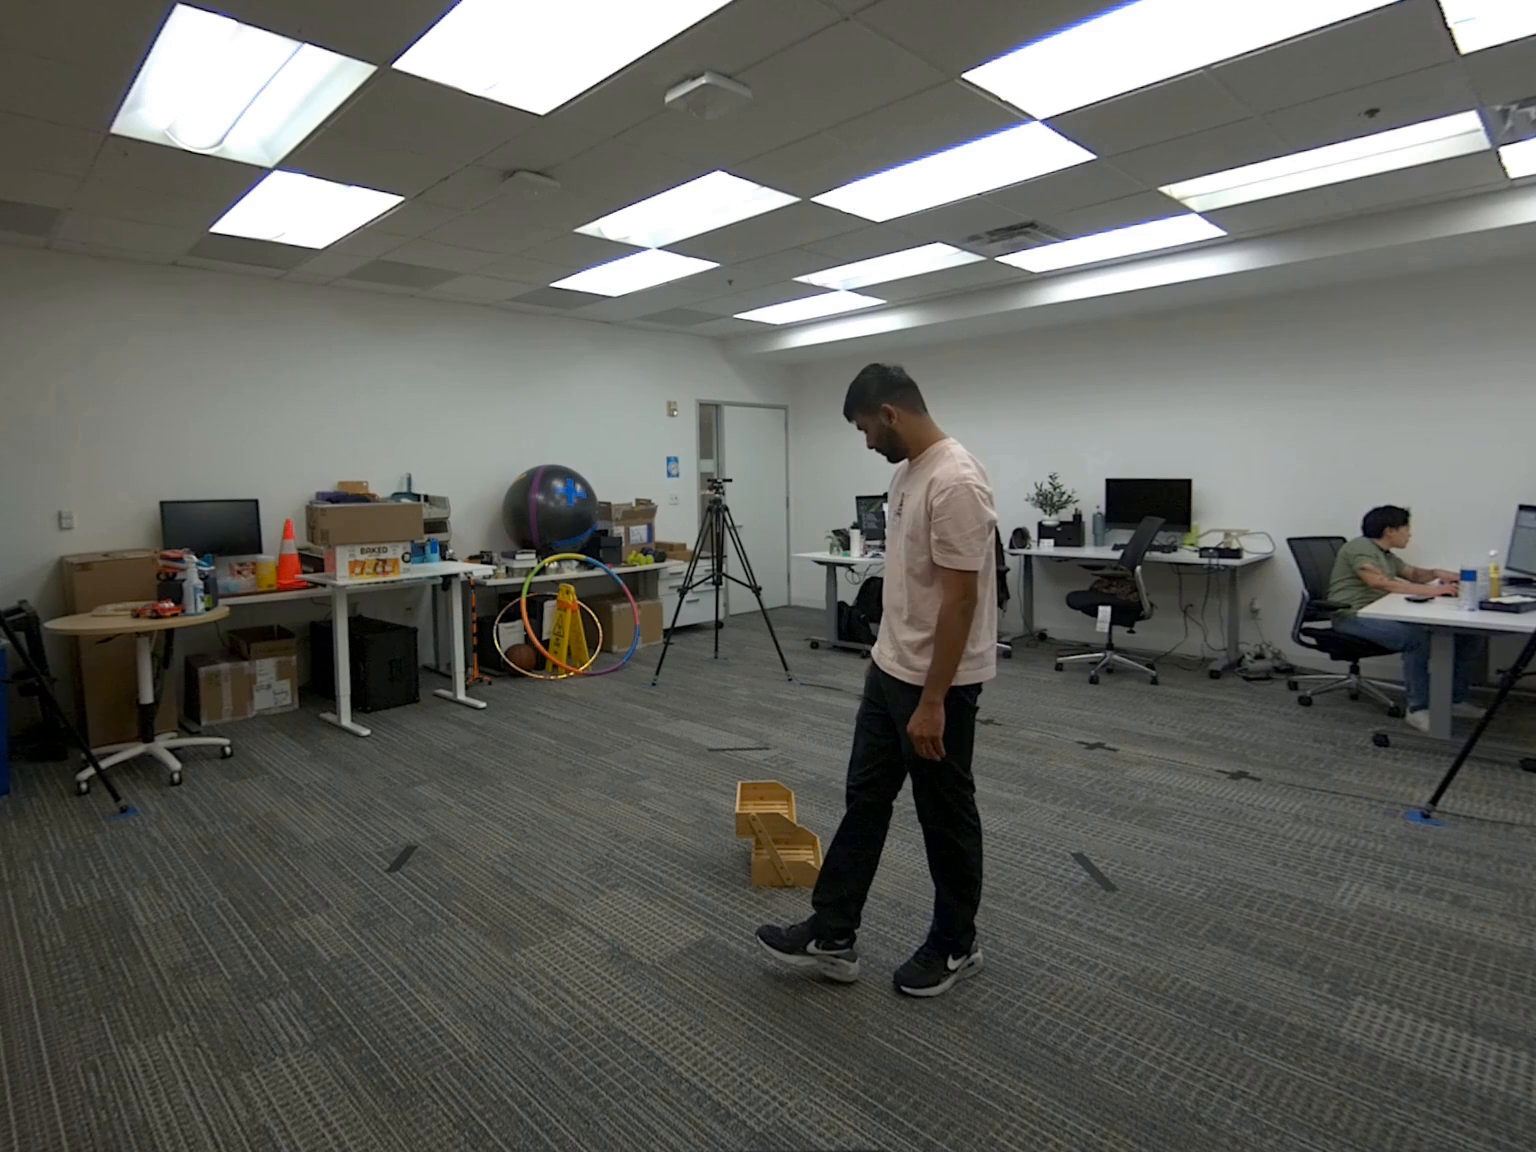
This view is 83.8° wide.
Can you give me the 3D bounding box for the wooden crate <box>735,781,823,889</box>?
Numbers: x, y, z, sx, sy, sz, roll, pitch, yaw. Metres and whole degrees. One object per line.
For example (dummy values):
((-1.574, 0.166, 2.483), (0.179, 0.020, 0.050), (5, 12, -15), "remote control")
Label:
((0.050, 0.916, 3.072), (0.302, 0.272, 0.325), (-1, 5, 0), "wooden crate")
